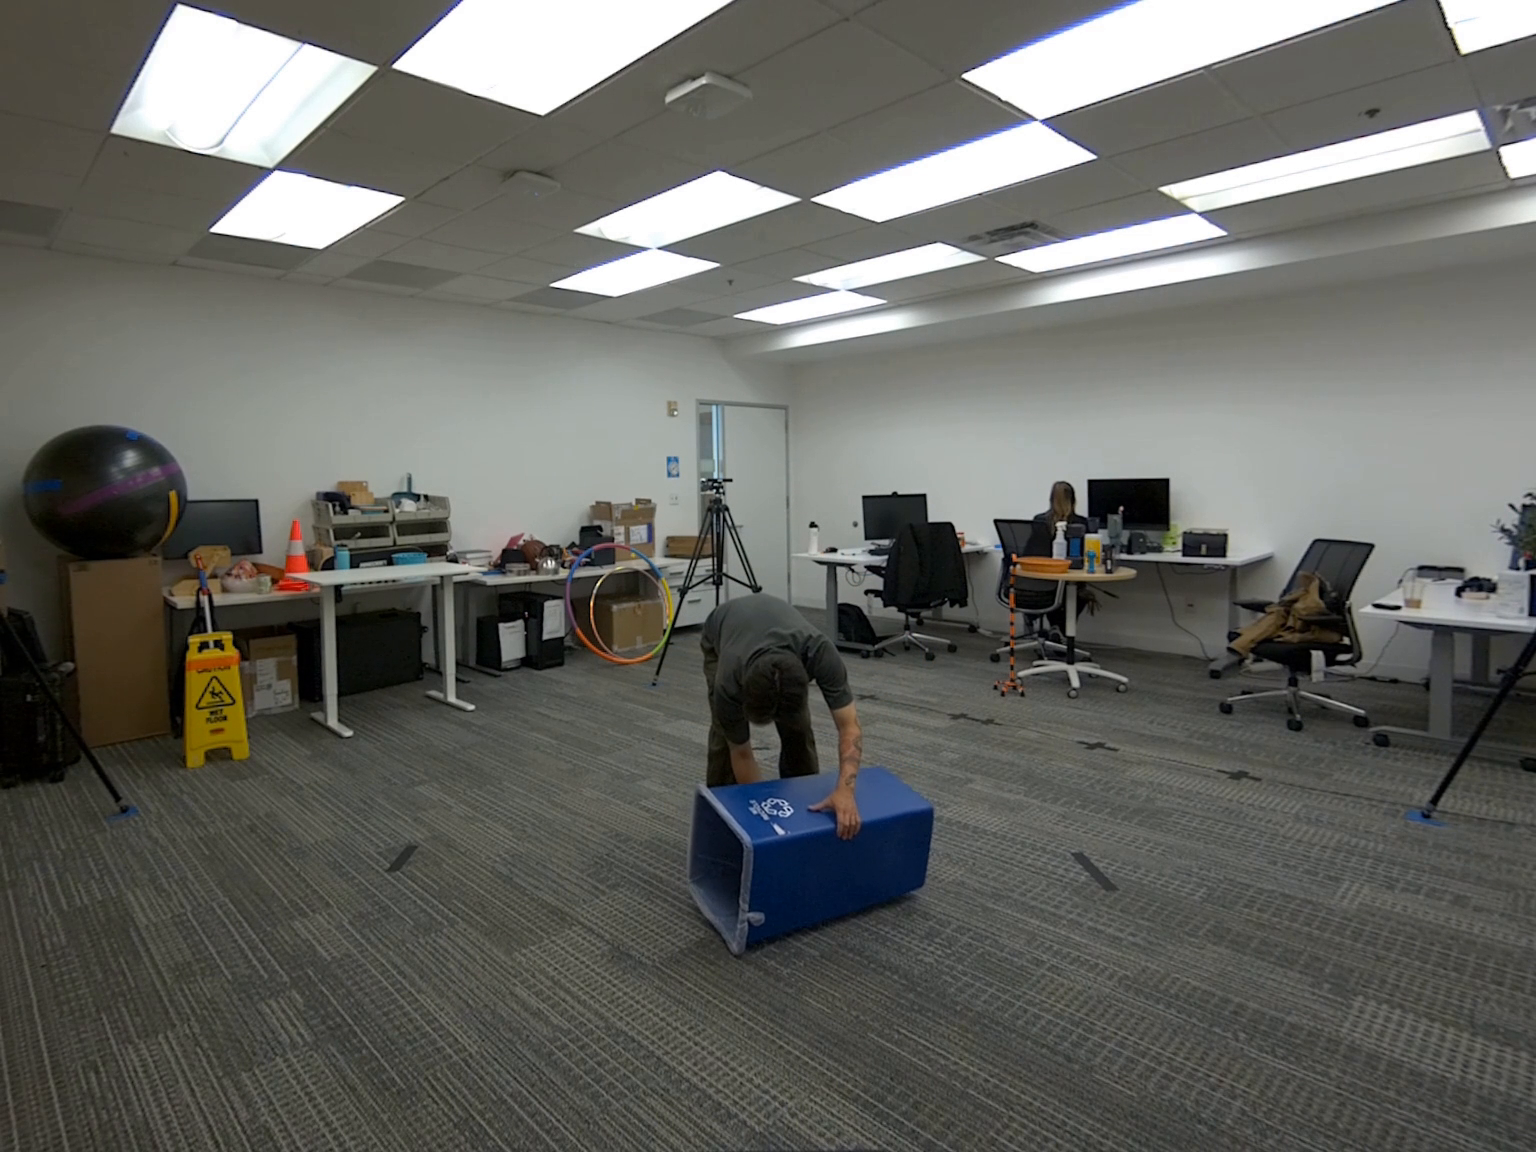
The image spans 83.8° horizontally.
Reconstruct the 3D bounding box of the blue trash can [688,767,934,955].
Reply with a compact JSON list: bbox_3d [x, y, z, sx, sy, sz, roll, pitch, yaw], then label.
[{"bbox_3d":[0.150,0.882,2.758,0.697,0.370,0.390,-2,14,-27],"label":"blue trash can"}]
